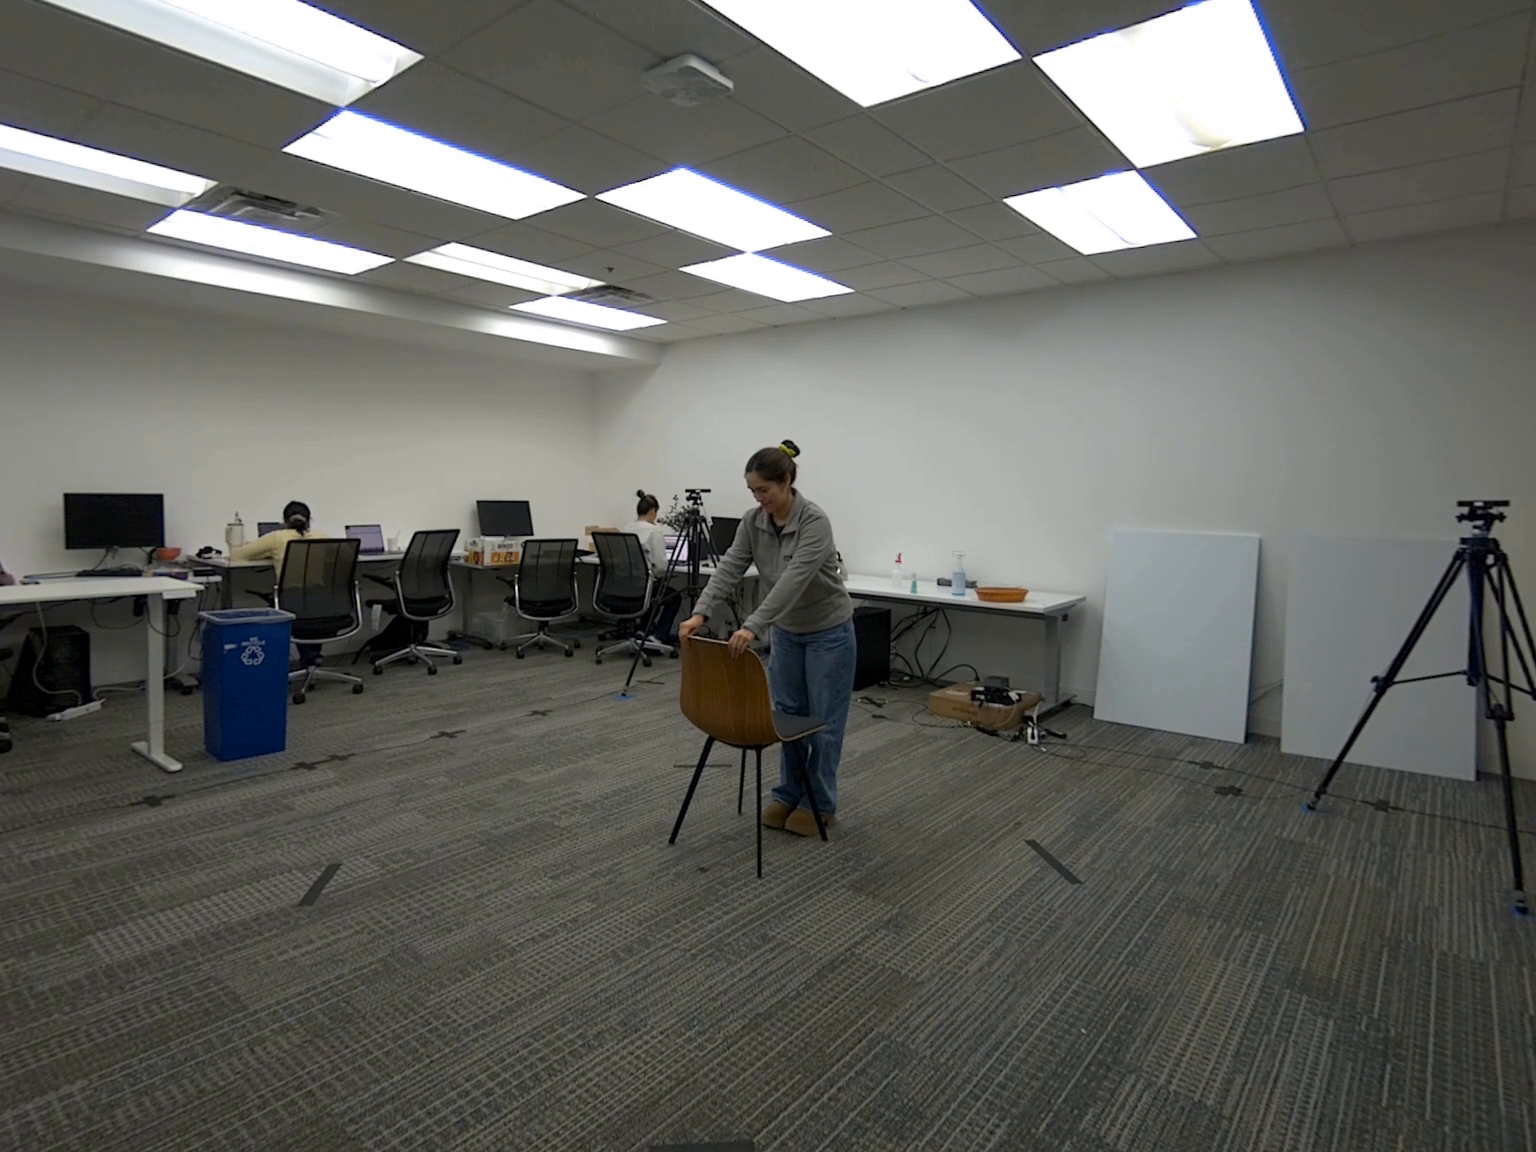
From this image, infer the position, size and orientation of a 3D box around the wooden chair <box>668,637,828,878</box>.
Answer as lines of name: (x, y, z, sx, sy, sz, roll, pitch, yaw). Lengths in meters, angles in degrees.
wooden chair: (-0.076, 0.627, 3.343, 0.494, 0.872, 0.509, 4, 8, 38)
